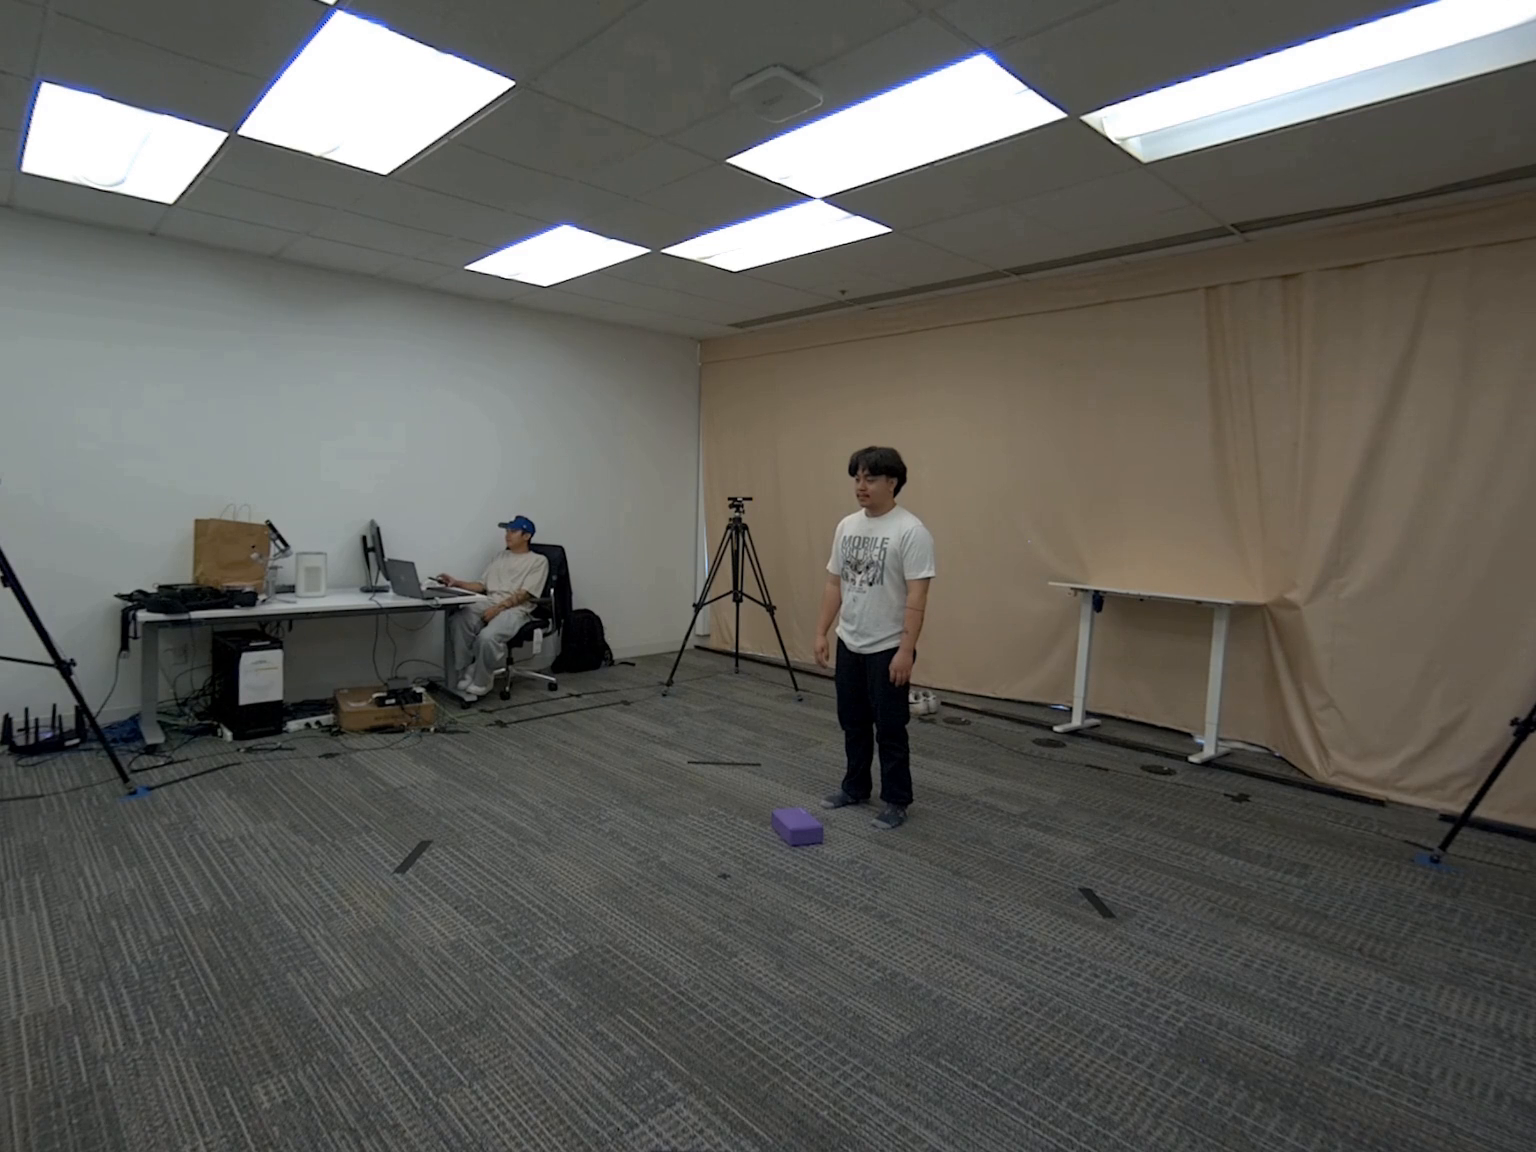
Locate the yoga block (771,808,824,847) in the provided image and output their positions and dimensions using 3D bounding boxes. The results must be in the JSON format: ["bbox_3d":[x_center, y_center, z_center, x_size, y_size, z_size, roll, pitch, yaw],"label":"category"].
[{"bbox_3d":[0.110,1.037,3.504,0.147,0.076,0.233,-1,5,-18],"label":"yoga block"}]
